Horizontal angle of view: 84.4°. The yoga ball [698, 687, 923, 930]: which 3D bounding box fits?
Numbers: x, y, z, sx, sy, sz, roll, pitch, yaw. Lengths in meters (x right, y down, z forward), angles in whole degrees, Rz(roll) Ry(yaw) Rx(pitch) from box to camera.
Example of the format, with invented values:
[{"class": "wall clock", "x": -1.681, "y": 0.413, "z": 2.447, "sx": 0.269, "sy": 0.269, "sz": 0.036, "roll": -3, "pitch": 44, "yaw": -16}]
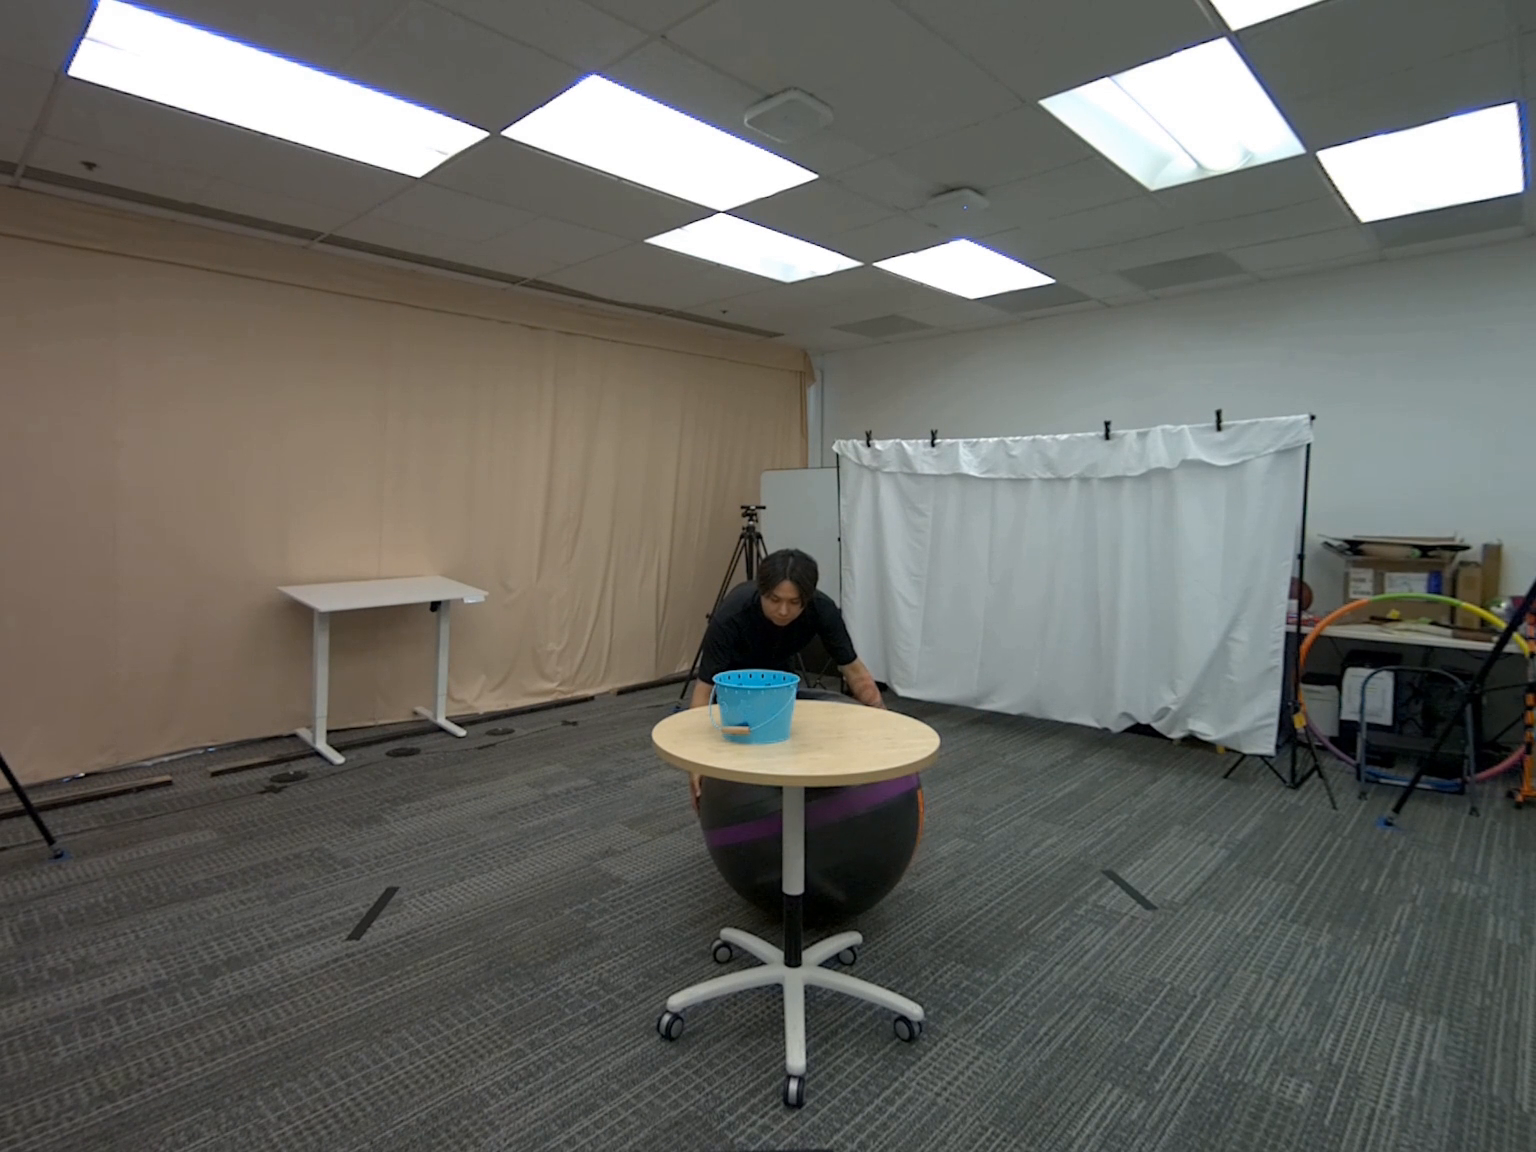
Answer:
[{"class": "yoga ball", "x": 0.146, "y": 0.782, "z": 2.888, "sx": 0.757, "sy": 0.756, "sz": 0.760, "roll": 0, "pitch": 4, "yaw": -2}]
